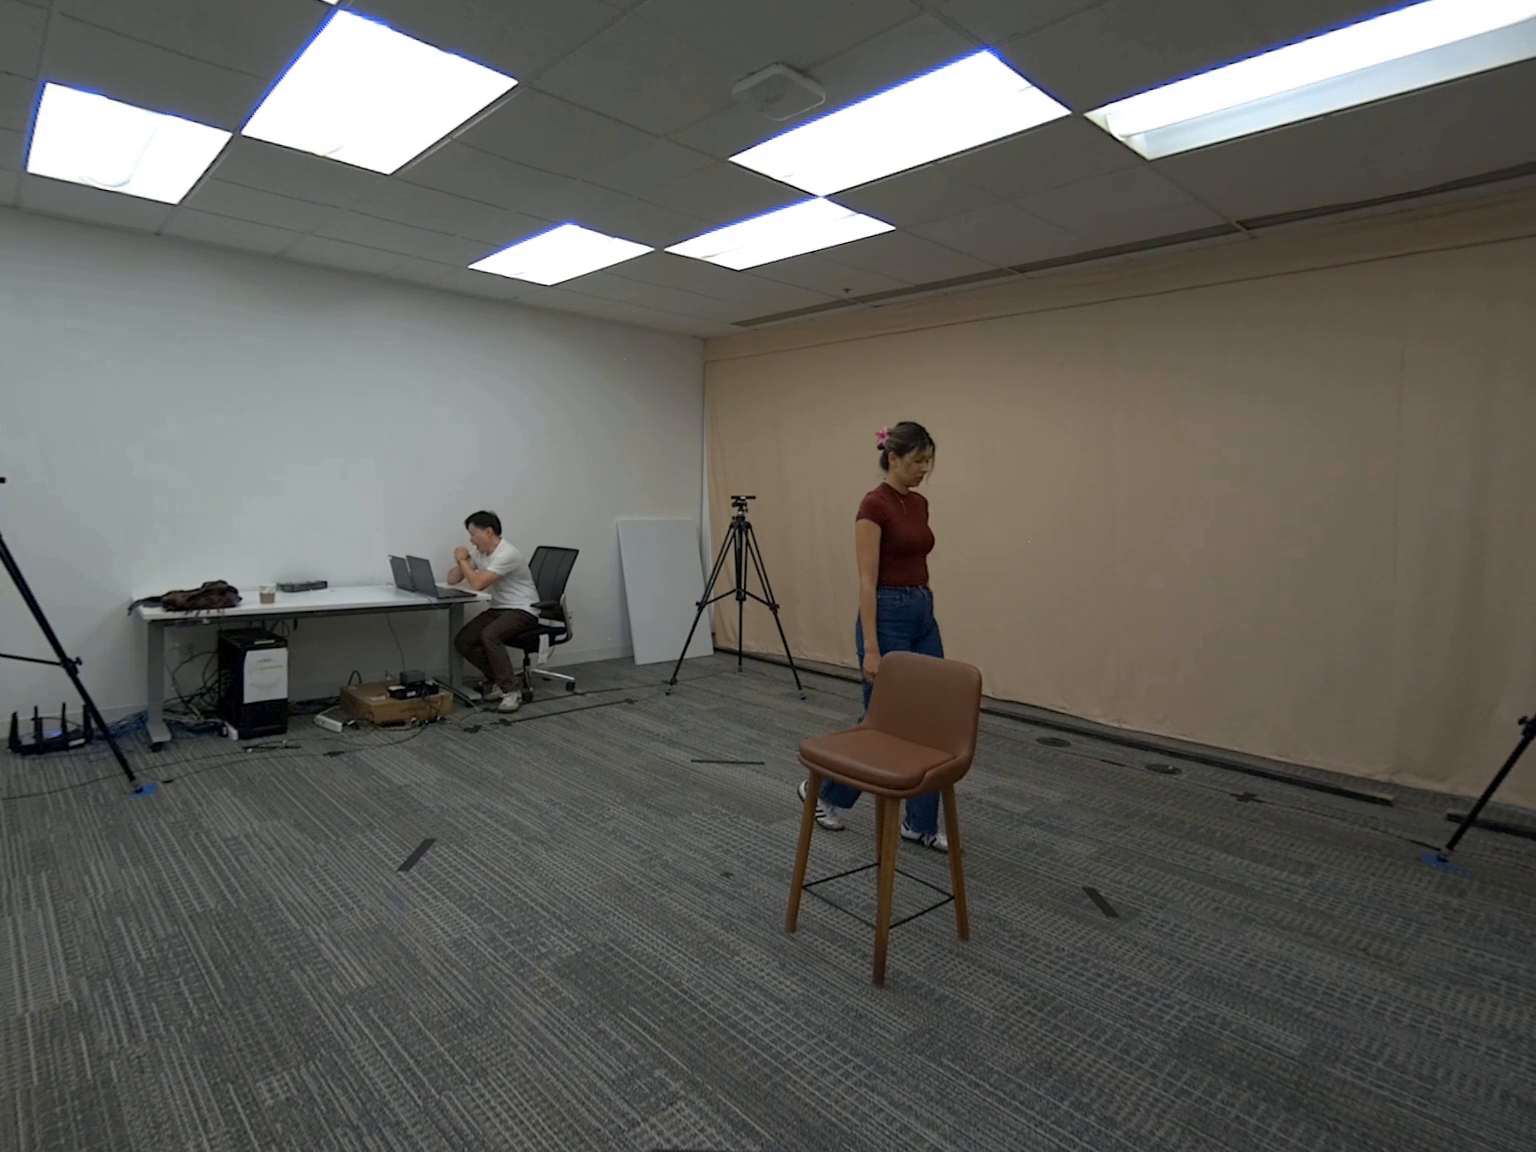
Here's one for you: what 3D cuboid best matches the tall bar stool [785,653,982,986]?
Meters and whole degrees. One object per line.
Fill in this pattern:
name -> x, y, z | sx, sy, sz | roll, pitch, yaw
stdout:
tall bar stool -> 0.368, 0.718, 2.672 | 0.456, 0.888, 0.468 | 1, 4, -39
